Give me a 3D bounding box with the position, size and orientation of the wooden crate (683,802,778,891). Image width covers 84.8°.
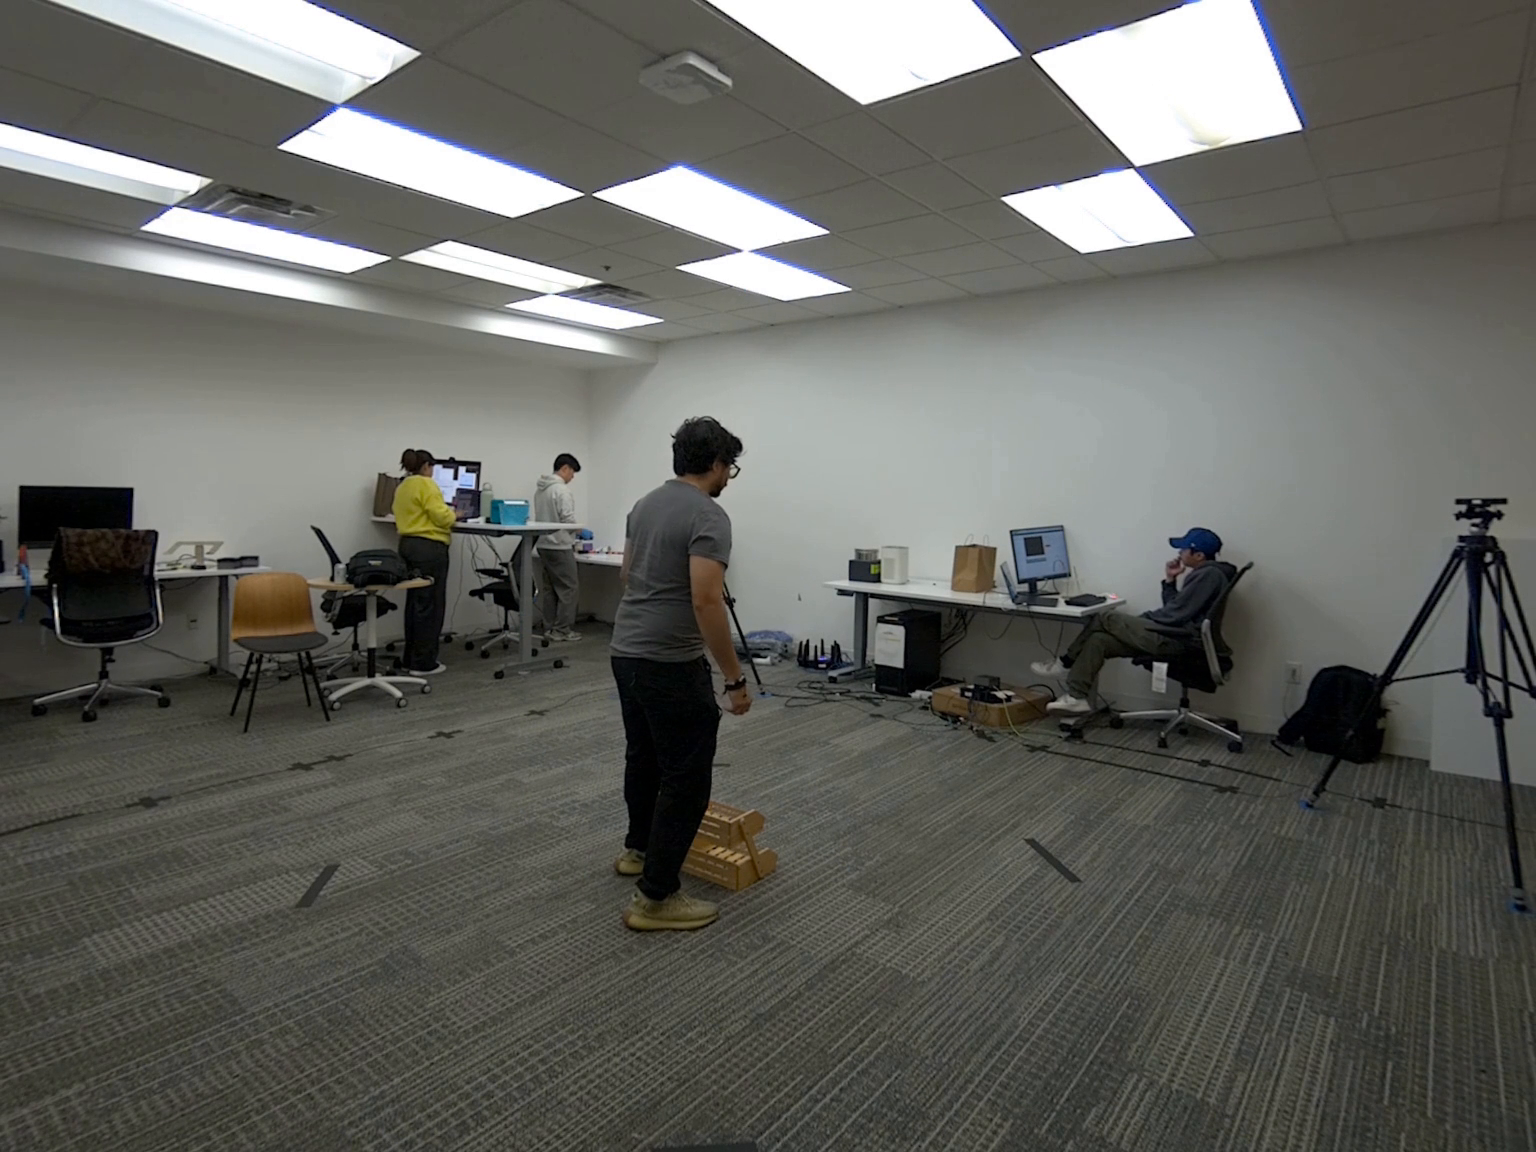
[{"bbox_3d":[-0.178,0.938,3.100,0.335,0.272,0.293,4,6,36],"label":"wooden crate"}]
